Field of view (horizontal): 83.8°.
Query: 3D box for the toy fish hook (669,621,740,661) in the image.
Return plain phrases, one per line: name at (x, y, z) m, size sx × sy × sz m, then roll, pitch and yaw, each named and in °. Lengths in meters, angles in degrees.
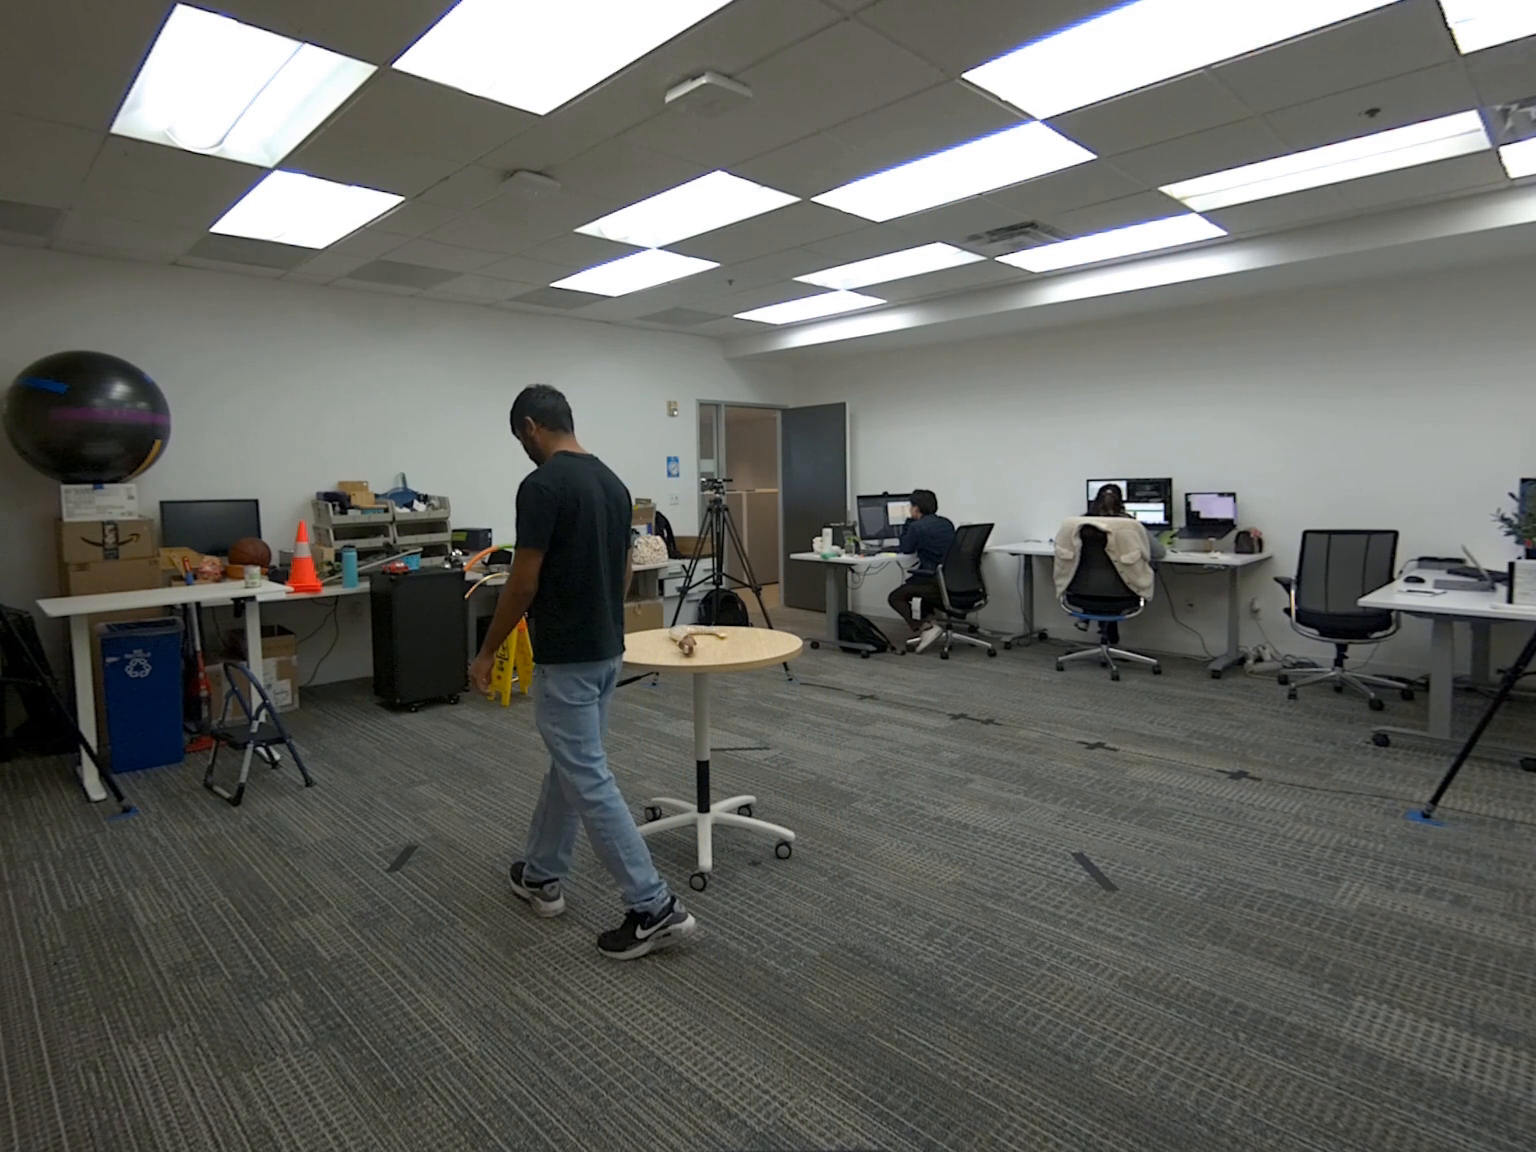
toy fish hook at (-0.248, 0.234, 3.188) m, size 0.223 × 0.048 × 0.511 m, roll -4°, pitch 6°, yaw -7°
